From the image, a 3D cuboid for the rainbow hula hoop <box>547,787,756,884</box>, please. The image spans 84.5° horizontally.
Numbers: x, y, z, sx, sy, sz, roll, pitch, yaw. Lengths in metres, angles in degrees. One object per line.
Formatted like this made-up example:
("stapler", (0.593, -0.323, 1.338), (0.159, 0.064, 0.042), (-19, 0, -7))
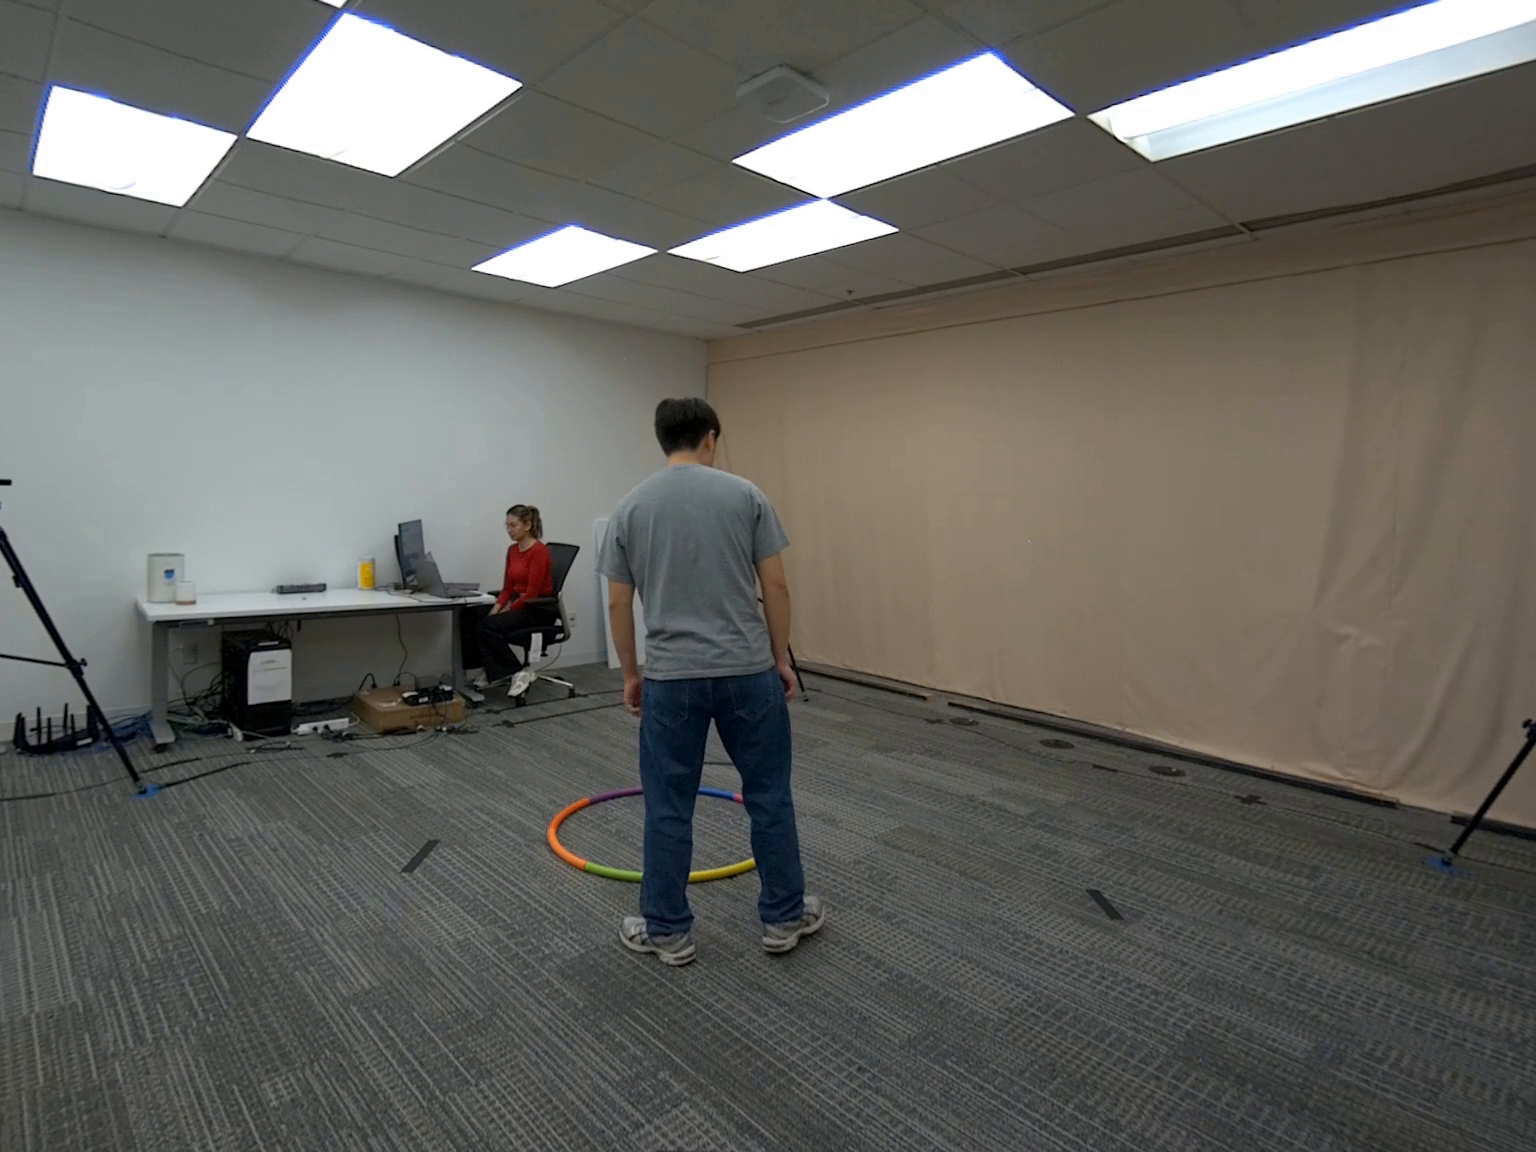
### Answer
("rainbow hula hoop", (-0.425, 1.036, 3.508), (0.978, 0.035, 0.982), (2, 5, -1))
